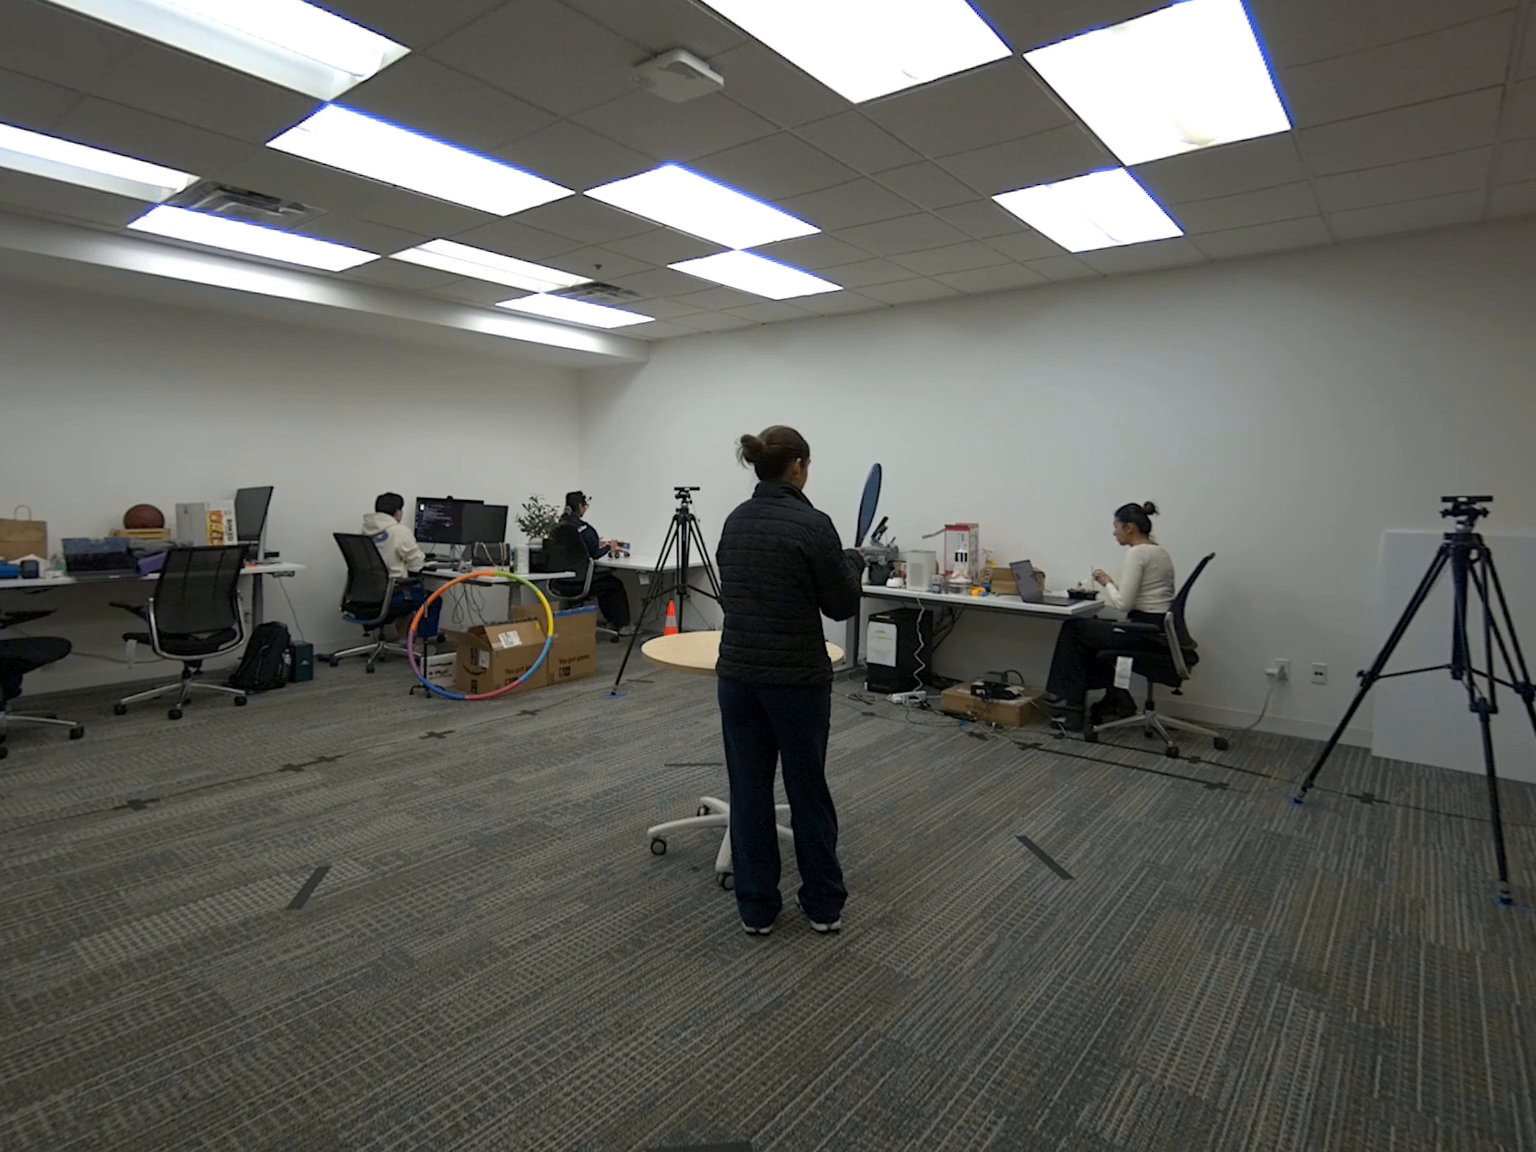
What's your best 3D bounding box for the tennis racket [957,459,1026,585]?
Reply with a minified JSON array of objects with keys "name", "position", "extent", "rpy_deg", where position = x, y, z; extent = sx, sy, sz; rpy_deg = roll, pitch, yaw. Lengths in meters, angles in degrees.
[{"name":"tennis racket","position":[0.792,-0.201,2.997],"extent":[0.031,0.433,0.219],"rpy_deg":[11,1,-21]}]
